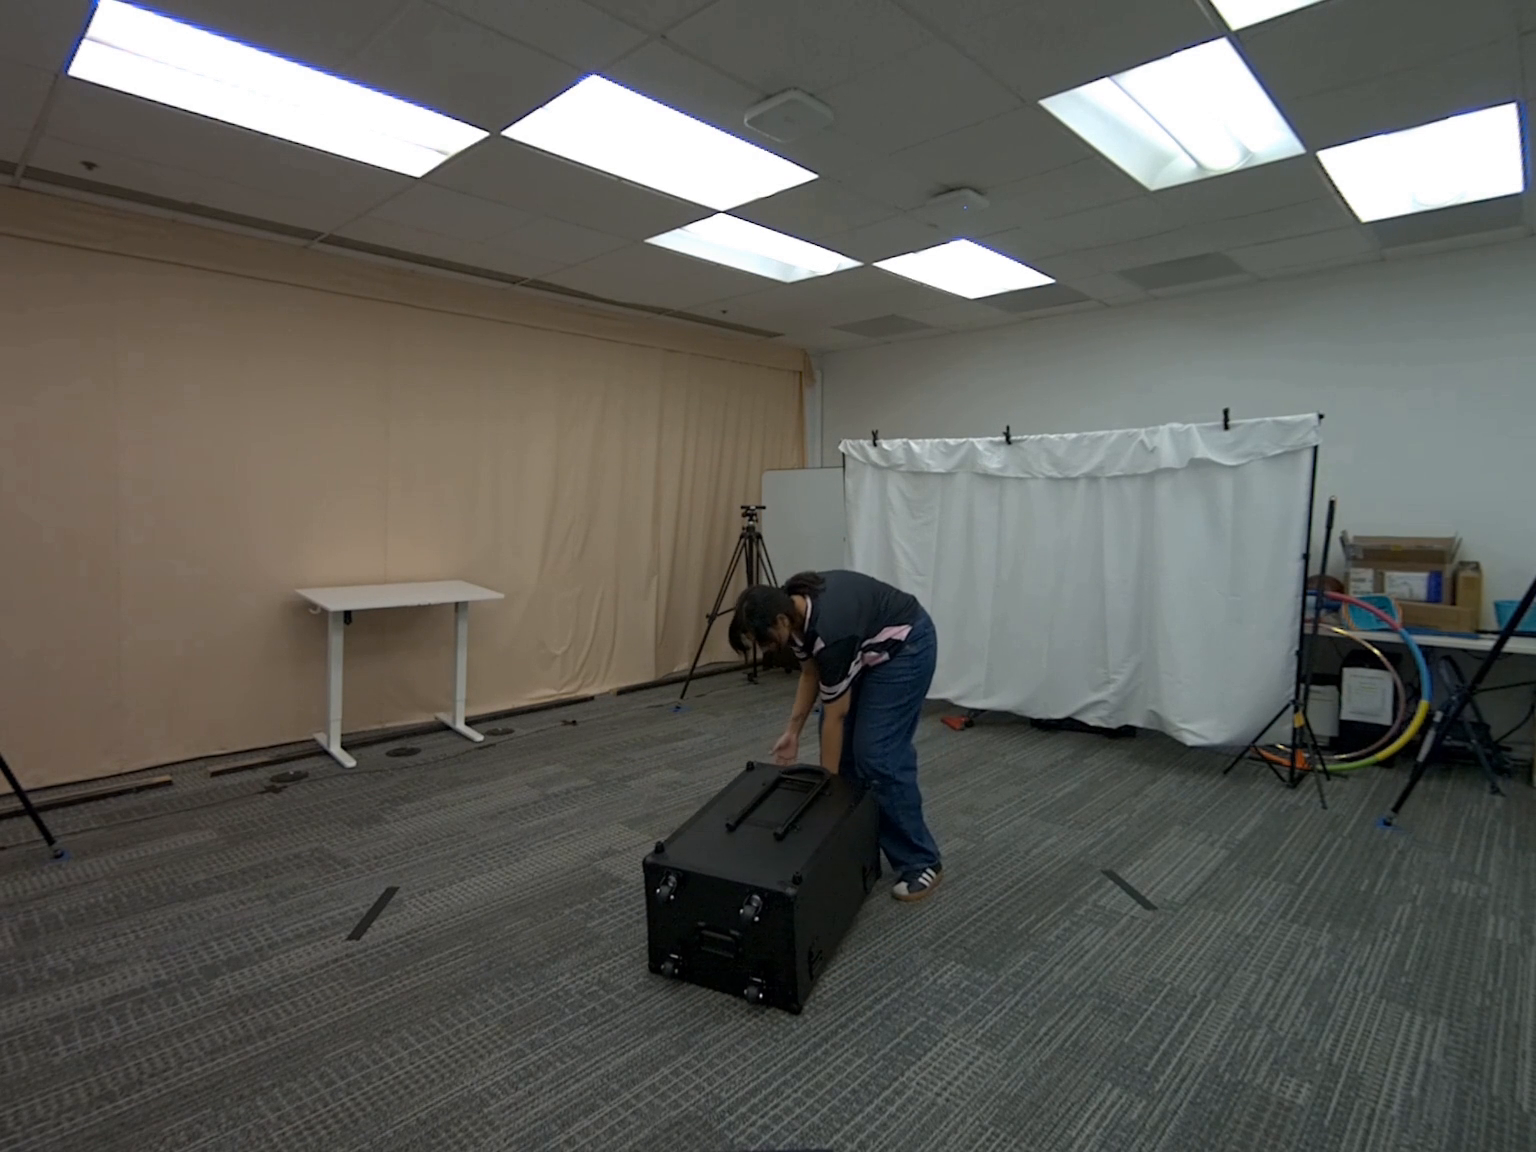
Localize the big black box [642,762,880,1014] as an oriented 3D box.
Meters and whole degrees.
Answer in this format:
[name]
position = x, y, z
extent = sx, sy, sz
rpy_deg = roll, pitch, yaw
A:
[big black box]
position = 0.008, 0.952, 2.684
extent = 0.537, 0.383, 0.851
rpy_deg = 3, 11, 25
